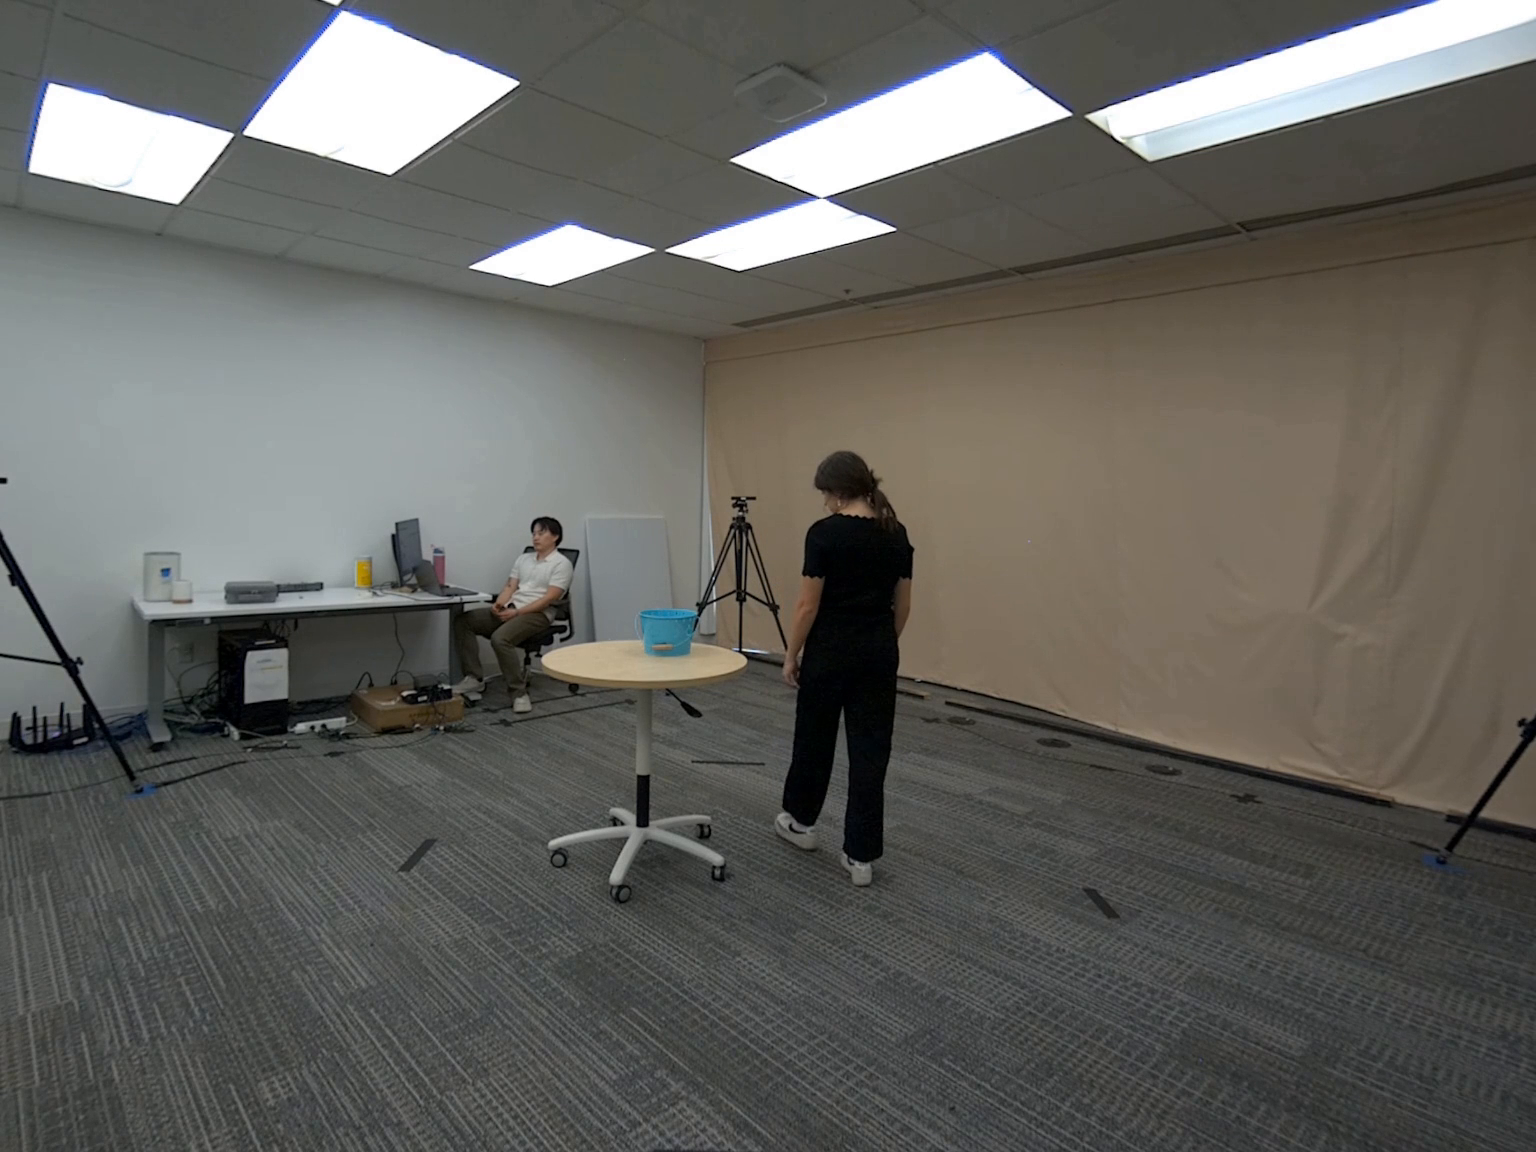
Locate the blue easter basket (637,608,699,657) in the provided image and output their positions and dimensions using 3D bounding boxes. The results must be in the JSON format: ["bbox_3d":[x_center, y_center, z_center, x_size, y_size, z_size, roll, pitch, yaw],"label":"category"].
[{"bbox_3d":[-0.402,0.221,3.298,0.243,0.155,0.244,2,4,-1],"label":"blue easter basket"}]
